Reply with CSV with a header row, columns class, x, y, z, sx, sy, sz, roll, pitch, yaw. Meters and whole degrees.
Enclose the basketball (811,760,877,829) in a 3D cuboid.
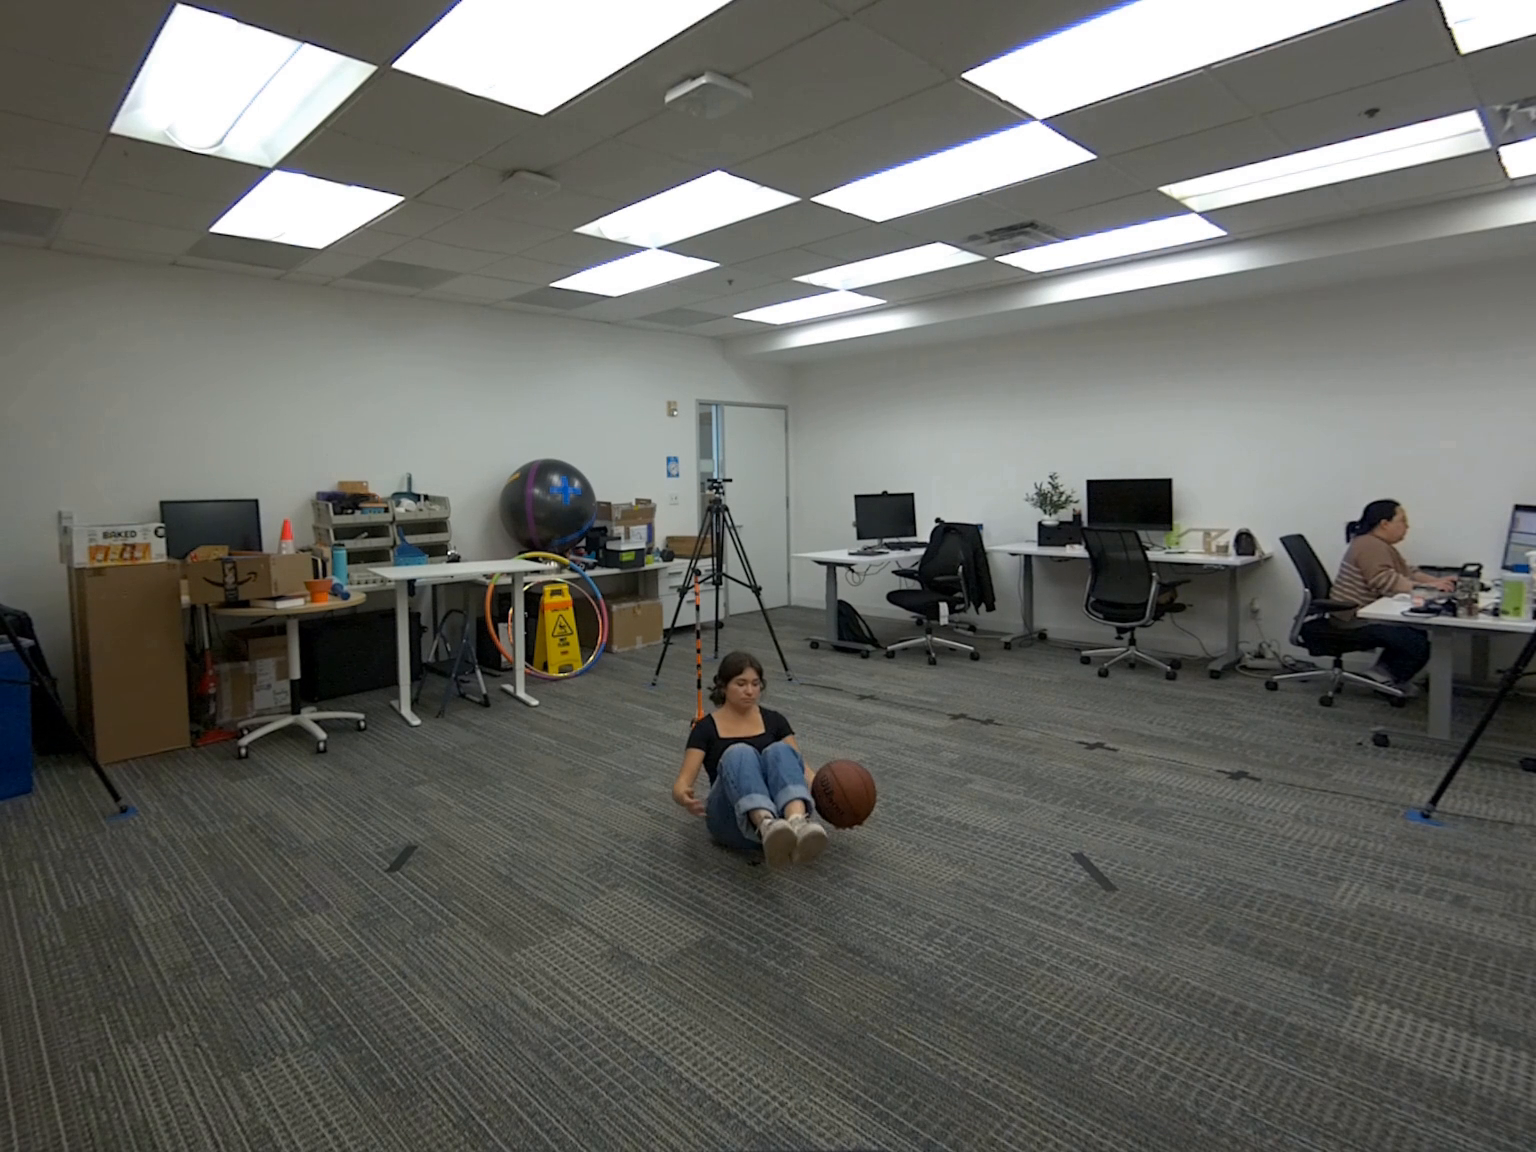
class,x,y,z,sx,sy,sz,roll,pitch,yaw
basketball,0.279,0.789,3.129,0.236,0.235,0.237,-1,5,-2
